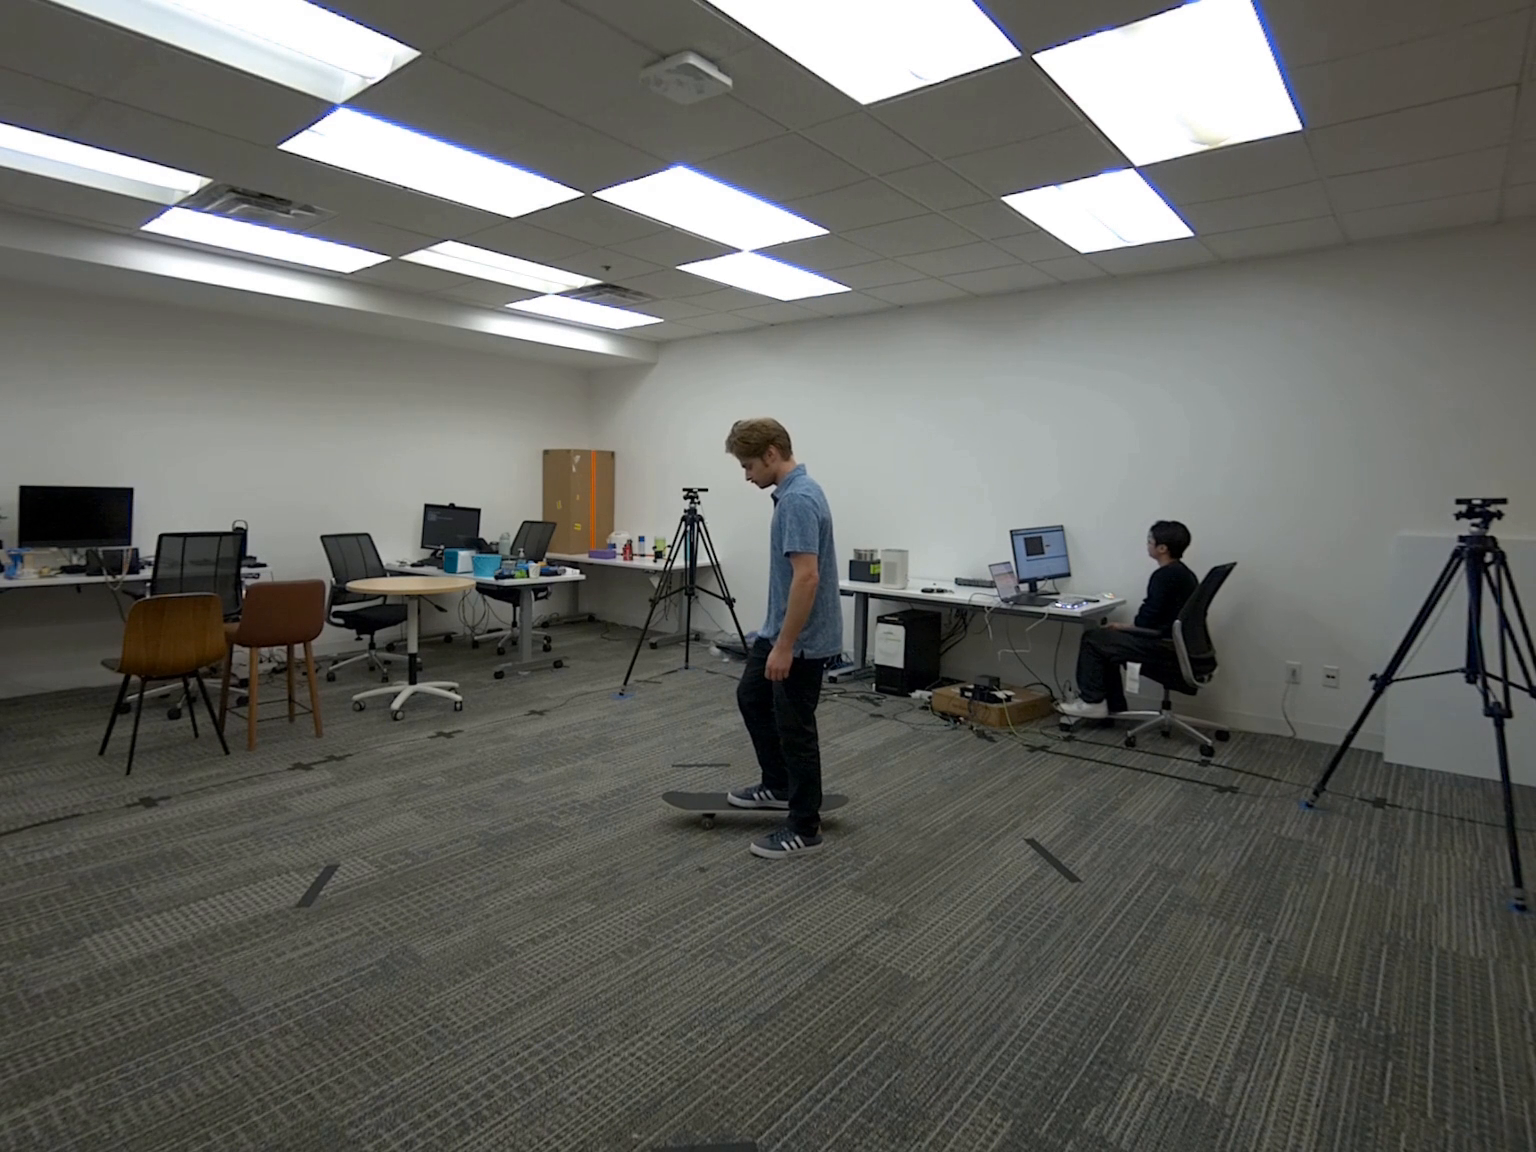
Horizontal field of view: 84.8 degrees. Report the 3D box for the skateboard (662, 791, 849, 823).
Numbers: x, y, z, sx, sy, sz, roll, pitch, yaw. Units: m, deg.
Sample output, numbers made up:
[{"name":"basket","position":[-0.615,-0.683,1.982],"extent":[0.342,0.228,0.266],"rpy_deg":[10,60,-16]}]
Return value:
[{"name":"skateboard","position":[-0.067,0.968,3.548],"extent":[0.785,0.110,0.195],"rpy_deg":[1,7,-1]}]
